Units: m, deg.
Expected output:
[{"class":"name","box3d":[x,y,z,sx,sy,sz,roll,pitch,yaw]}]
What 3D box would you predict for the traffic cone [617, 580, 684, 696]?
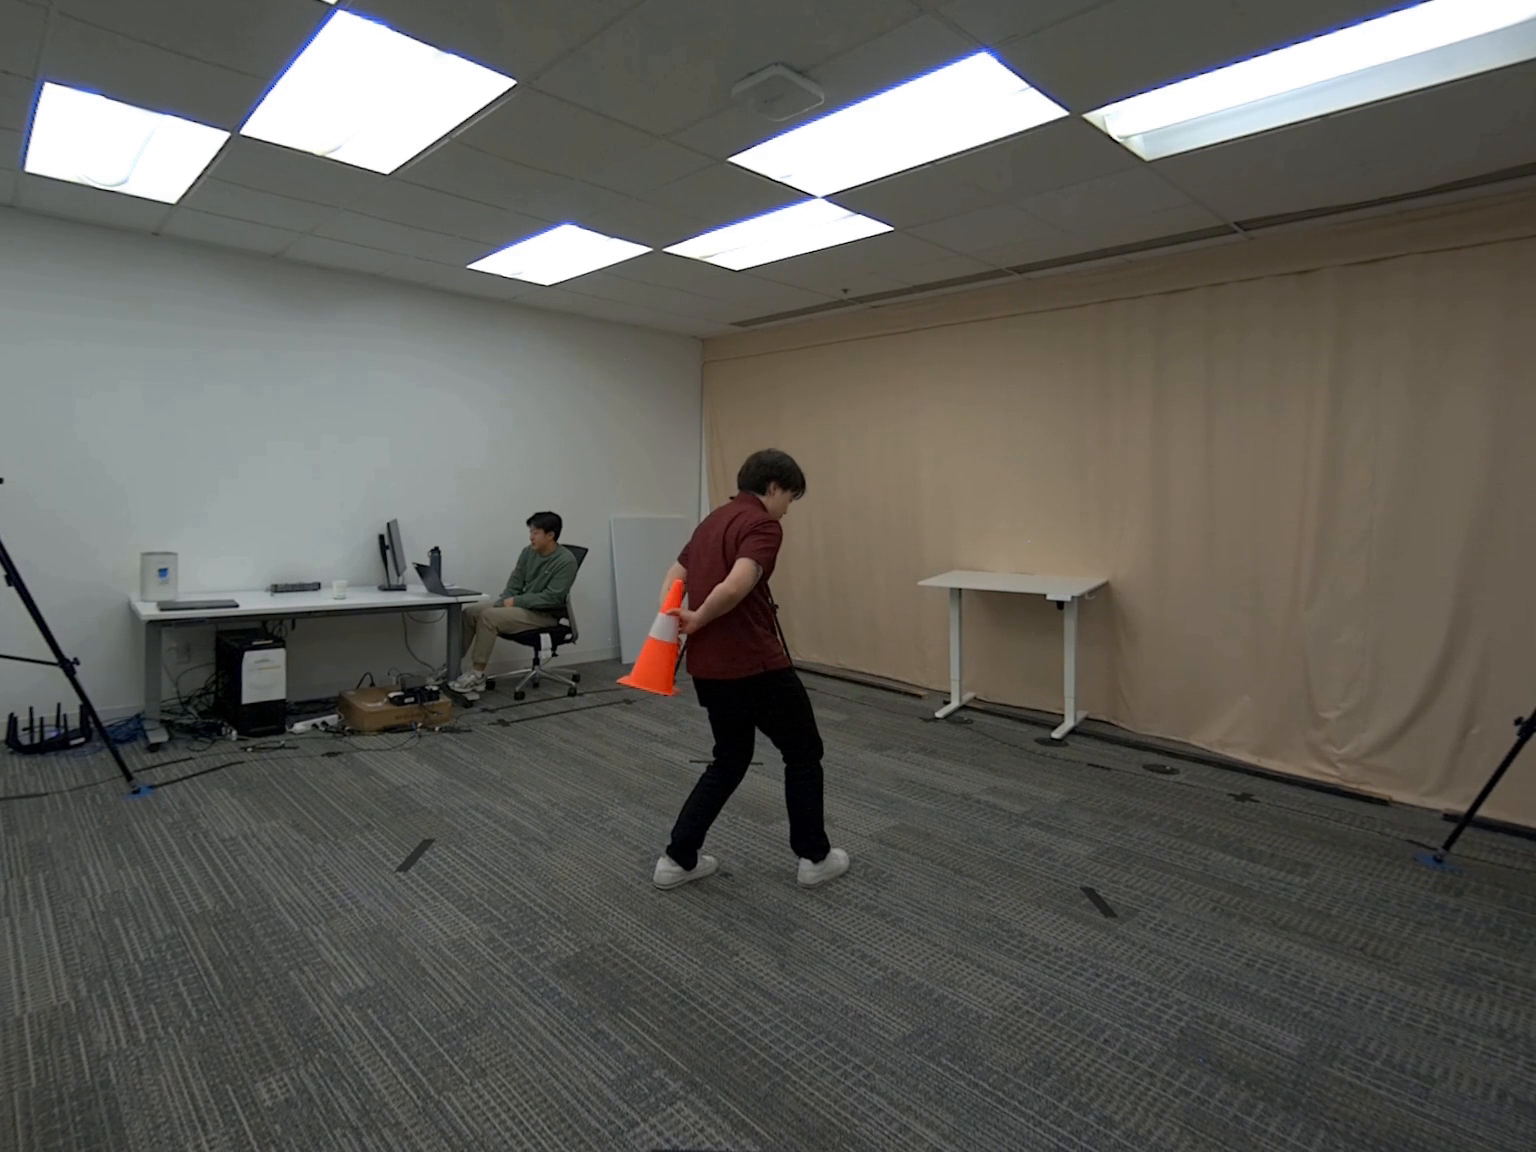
[{"class":"traffic cone","box3d":[-0.366,0.204,2.927,0.207,0.384,0.201,12,-3,10]}]
